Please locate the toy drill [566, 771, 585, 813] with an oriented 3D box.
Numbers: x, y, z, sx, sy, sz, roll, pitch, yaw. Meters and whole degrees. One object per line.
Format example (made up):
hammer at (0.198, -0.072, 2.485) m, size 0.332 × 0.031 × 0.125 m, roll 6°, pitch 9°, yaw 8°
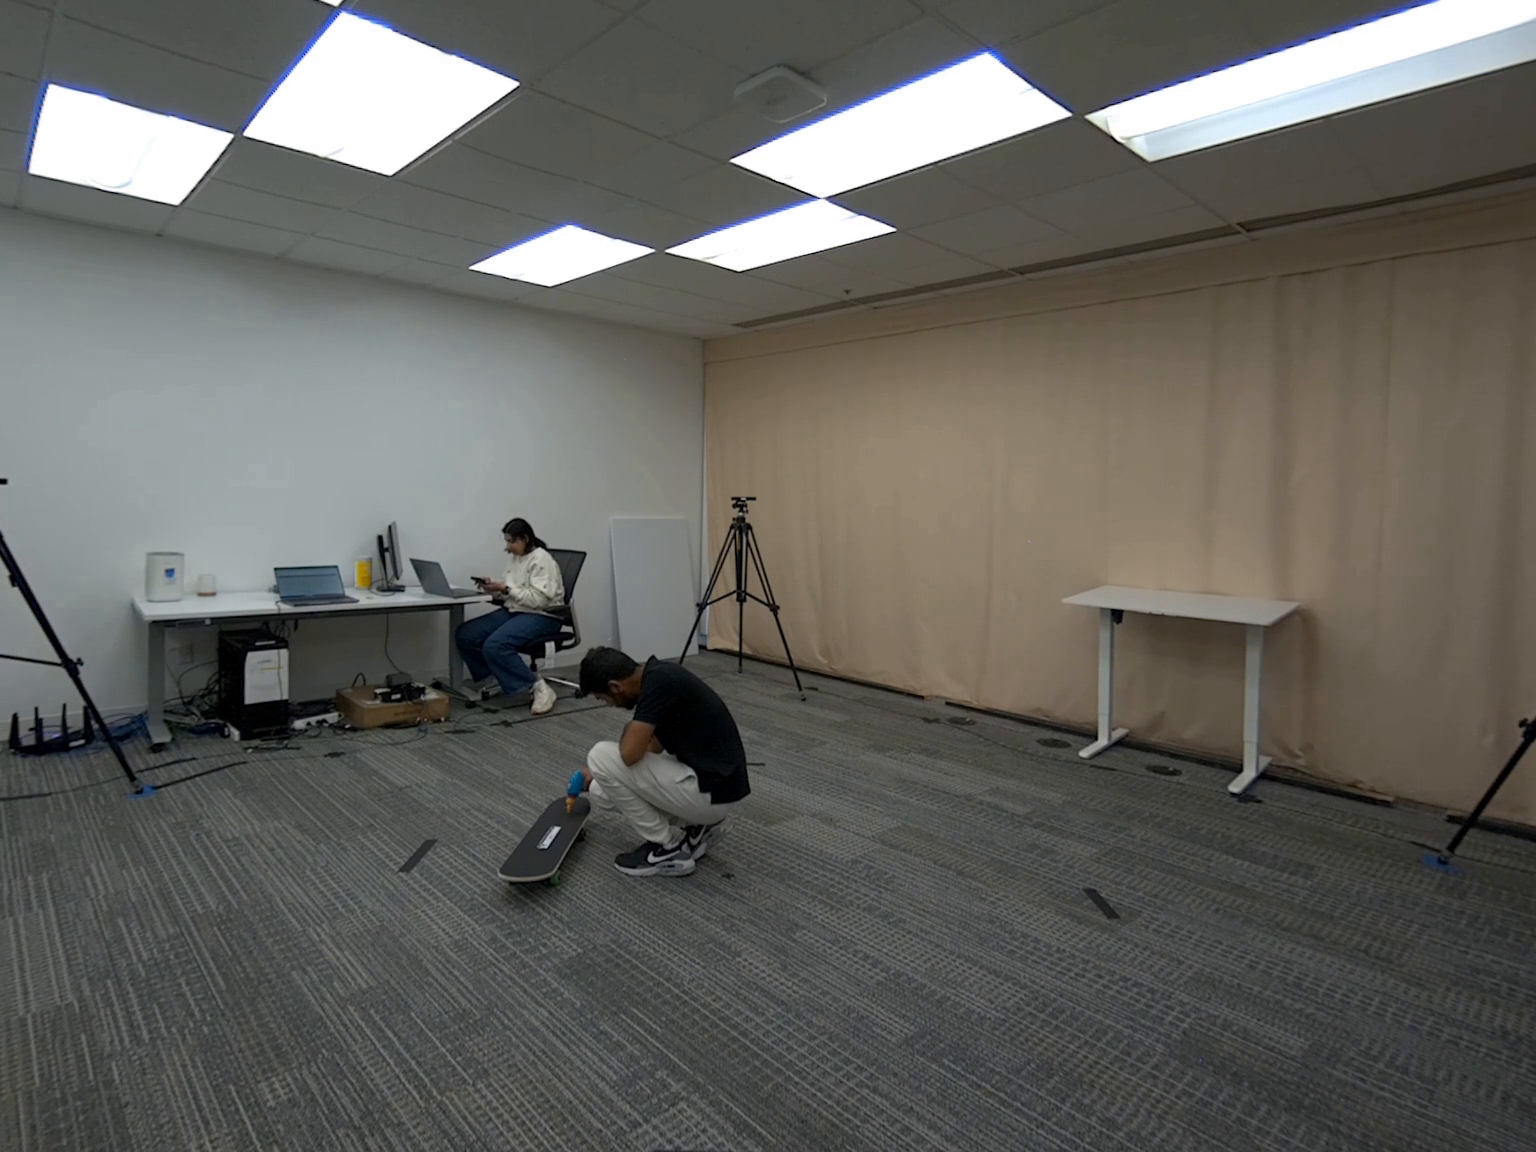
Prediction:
toy drill at (-0.769, 0.874, 3.457) m, size 0.142 × 0.171 × 0.062 m, roll 20°, pitch -17°, yaw -31°
